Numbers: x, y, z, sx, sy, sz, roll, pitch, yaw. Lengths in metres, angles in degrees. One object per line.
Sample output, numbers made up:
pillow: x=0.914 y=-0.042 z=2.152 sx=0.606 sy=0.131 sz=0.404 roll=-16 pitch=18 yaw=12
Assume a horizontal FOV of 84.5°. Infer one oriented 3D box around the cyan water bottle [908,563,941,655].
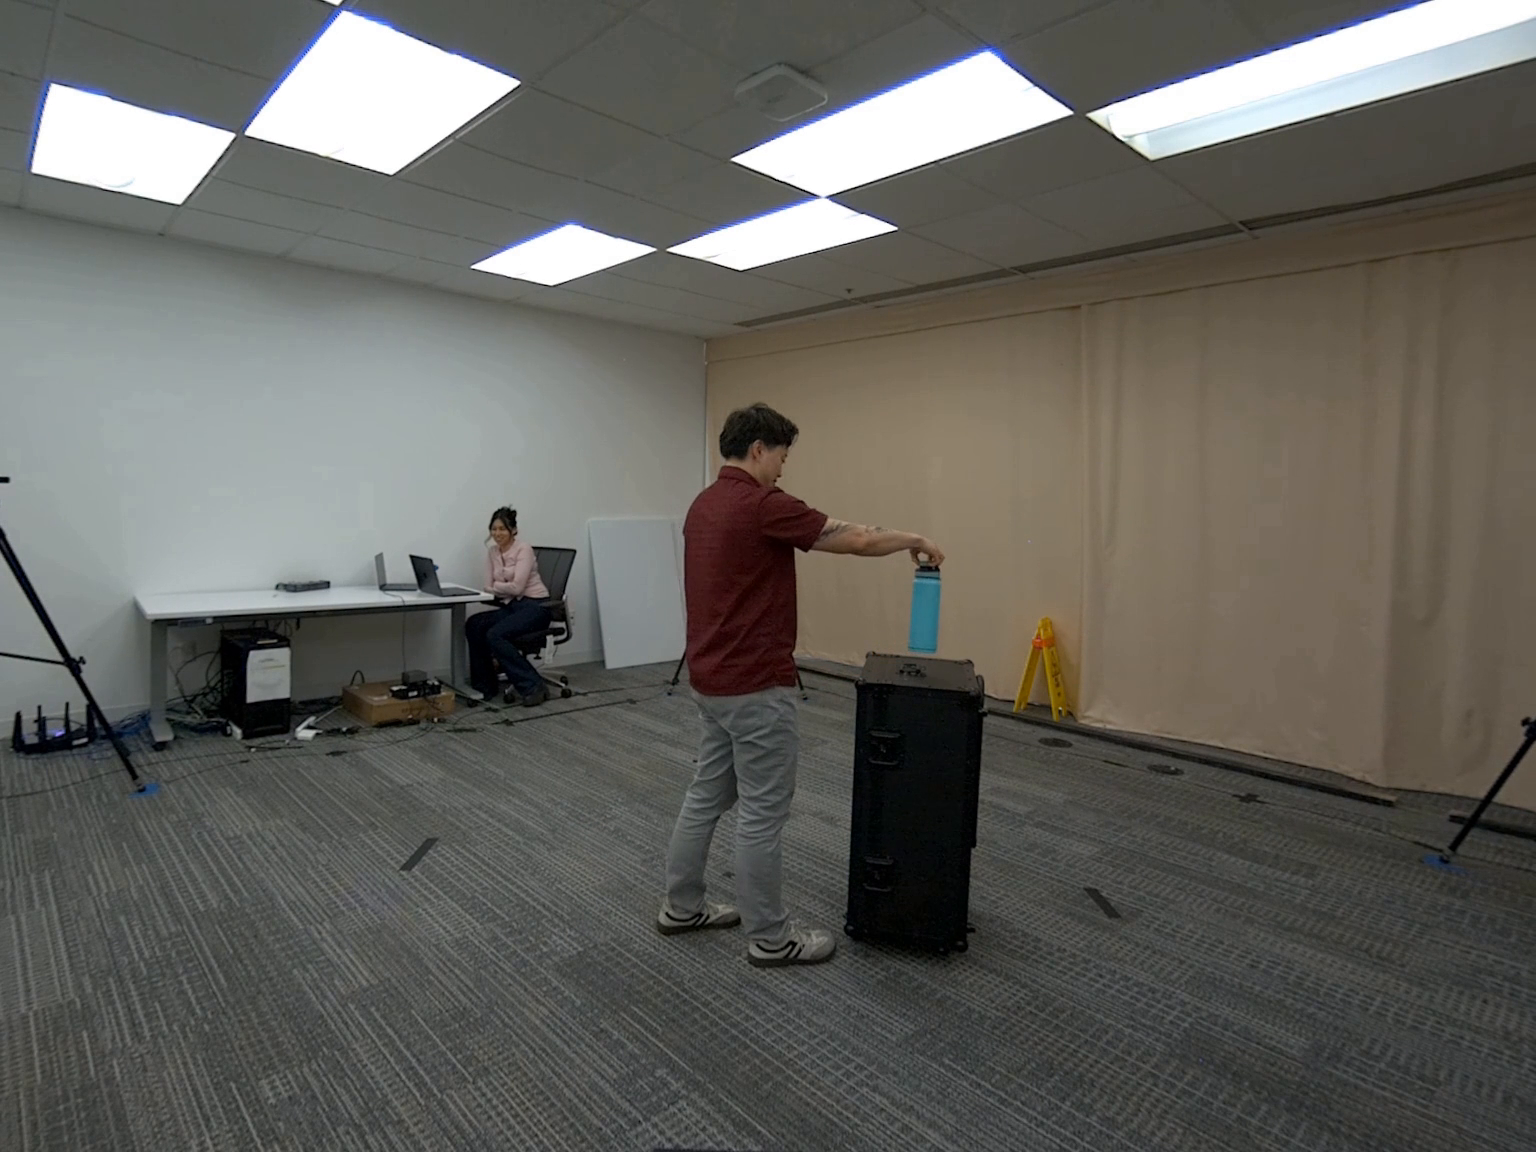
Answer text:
cyan water bottle: x=0.487 y=0.097 z=2.640 sx=0.092 sy=0.284 sz=0.092 roll=4 pitch=-2 yaw=-1
